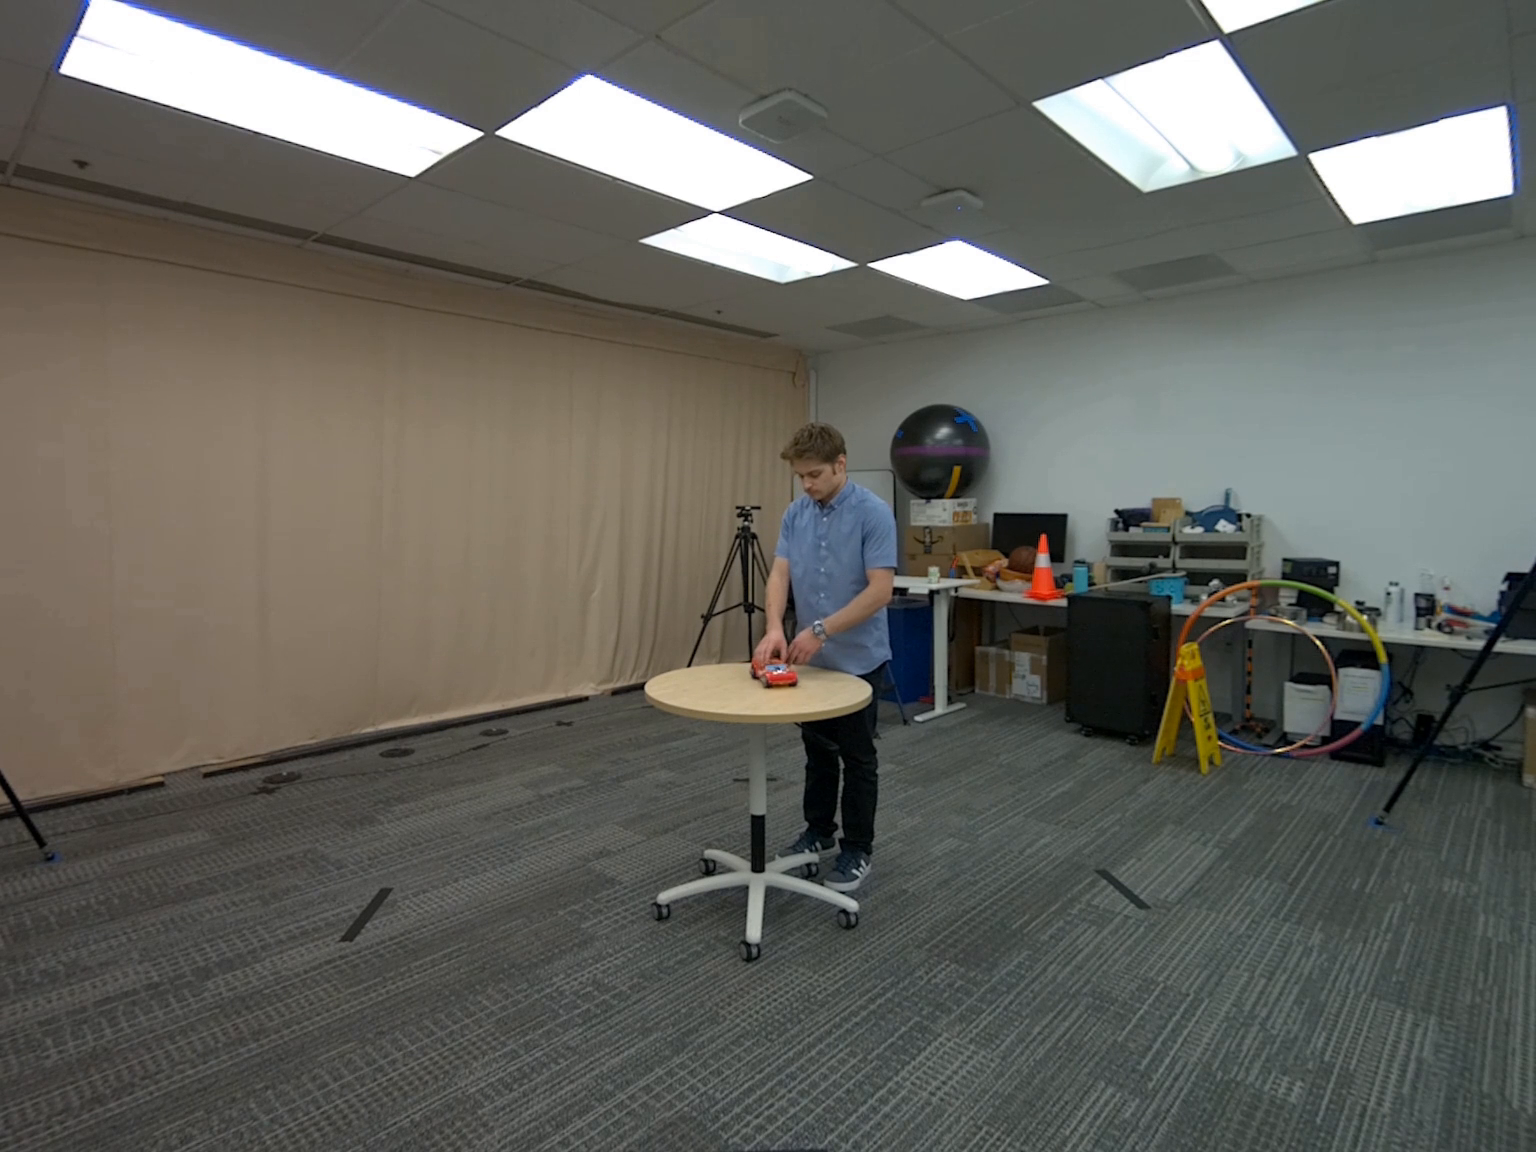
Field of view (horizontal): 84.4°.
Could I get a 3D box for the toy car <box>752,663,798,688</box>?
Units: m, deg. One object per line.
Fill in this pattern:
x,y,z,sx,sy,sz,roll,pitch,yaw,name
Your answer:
0.014,0.333,2.925,0.128,0.082,0.260,-1,15,-14,toy car
